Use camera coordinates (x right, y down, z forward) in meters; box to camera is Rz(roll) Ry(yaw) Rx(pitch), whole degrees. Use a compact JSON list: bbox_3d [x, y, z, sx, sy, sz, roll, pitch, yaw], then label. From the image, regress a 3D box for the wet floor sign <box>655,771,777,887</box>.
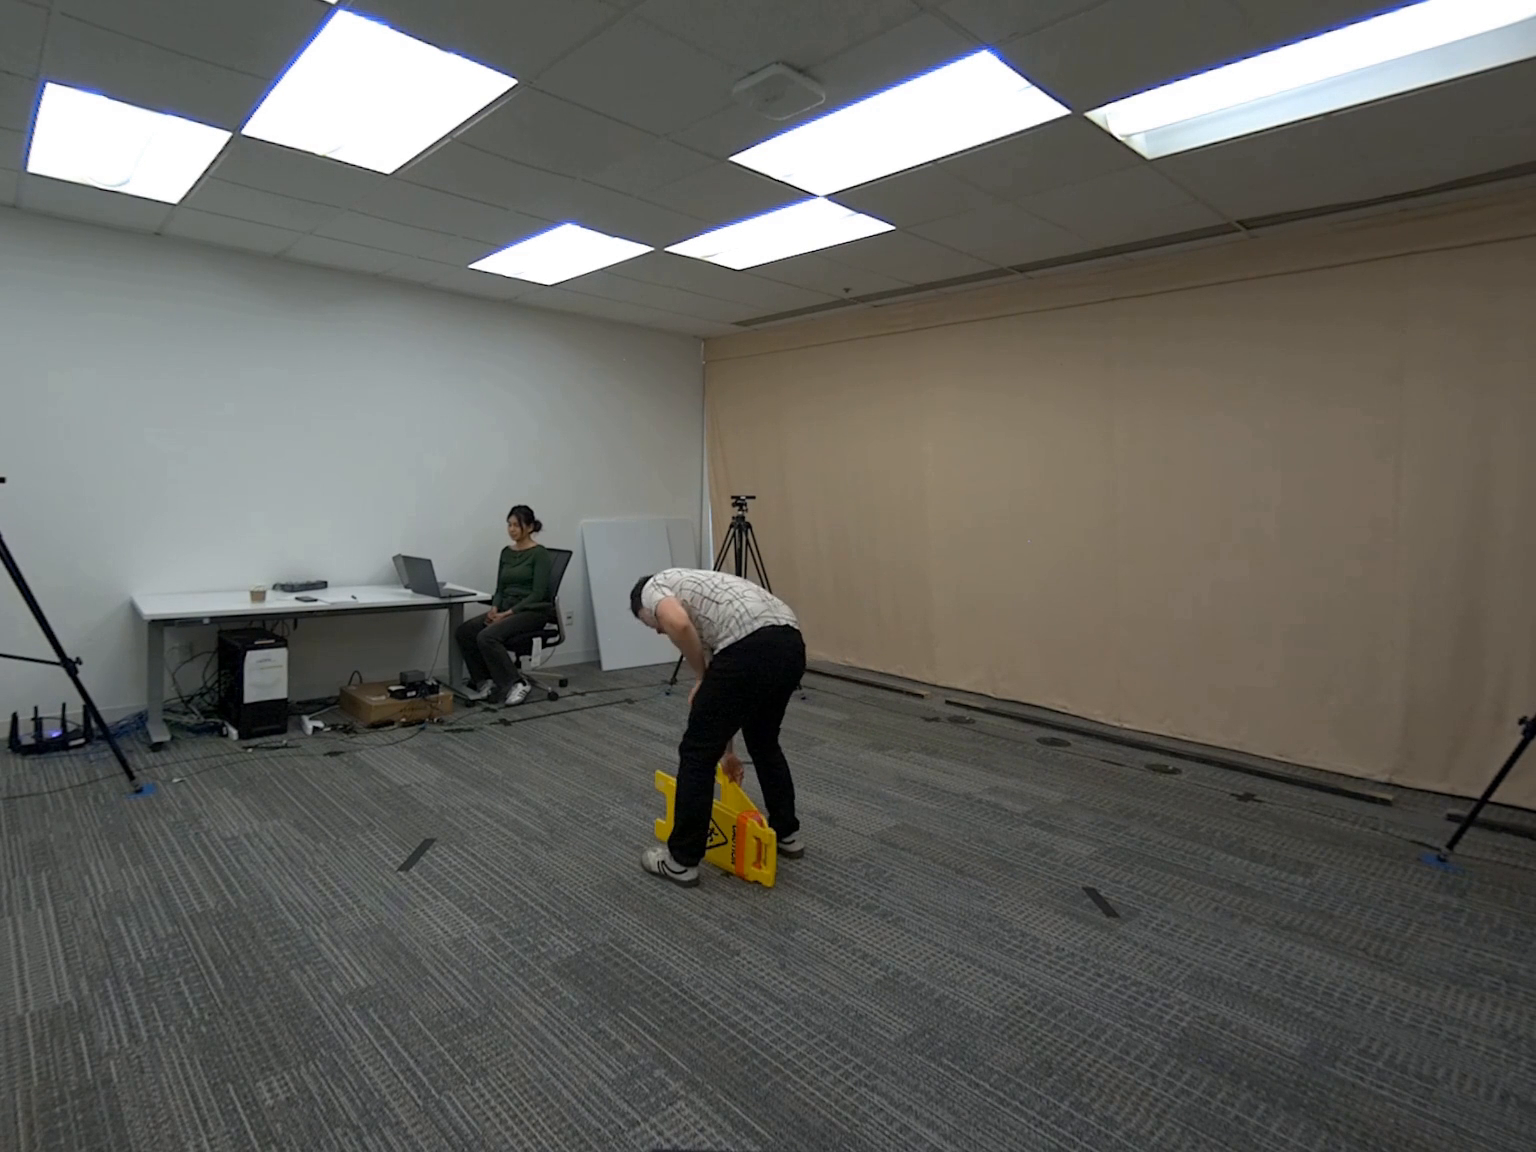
[{"bbox_3d":[-0.167,0.961,3.230,0.284,0.281,0.662,-3,8,-32],"label":"wet floor sign"}]
